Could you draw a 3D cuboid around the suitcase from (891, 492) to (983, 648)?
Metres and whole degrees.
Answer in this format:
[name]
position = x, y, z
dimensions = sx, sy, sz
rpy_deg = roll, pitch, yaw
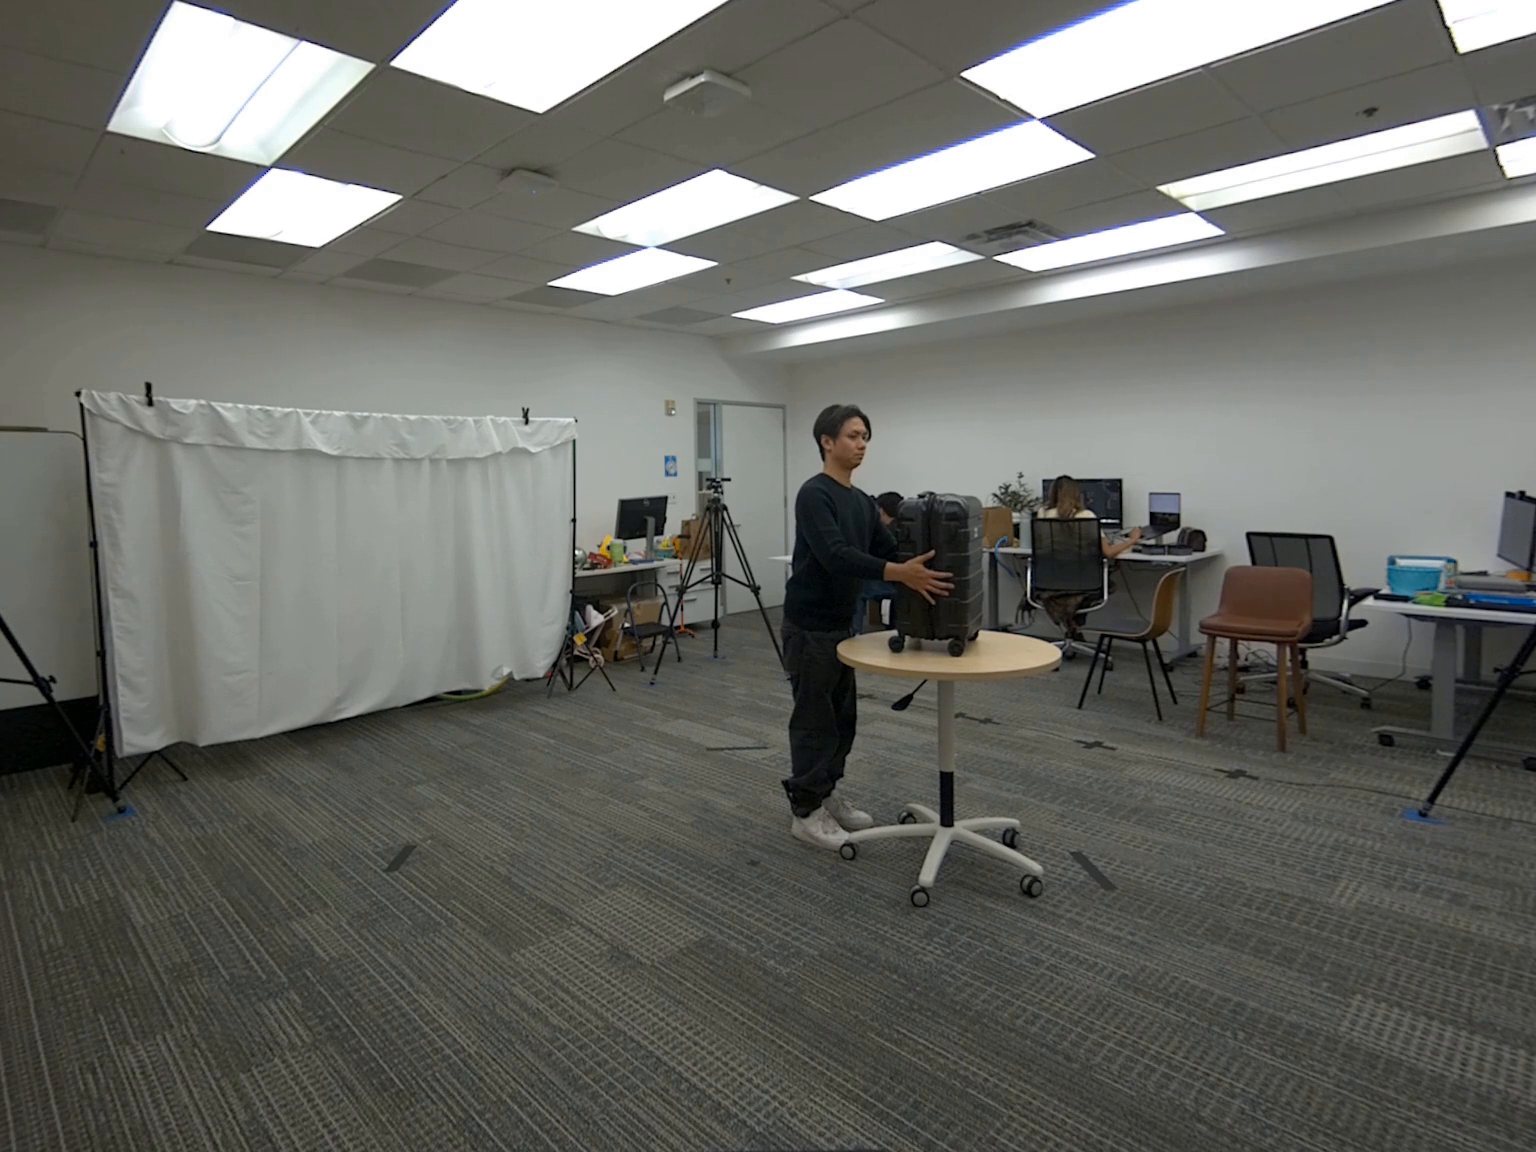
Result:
[suitcase]
position = 0.617, -0.024, 3.047
dimensions = 0.254, 0.547, 0.368
rpy_deg = 2, 4, 26
